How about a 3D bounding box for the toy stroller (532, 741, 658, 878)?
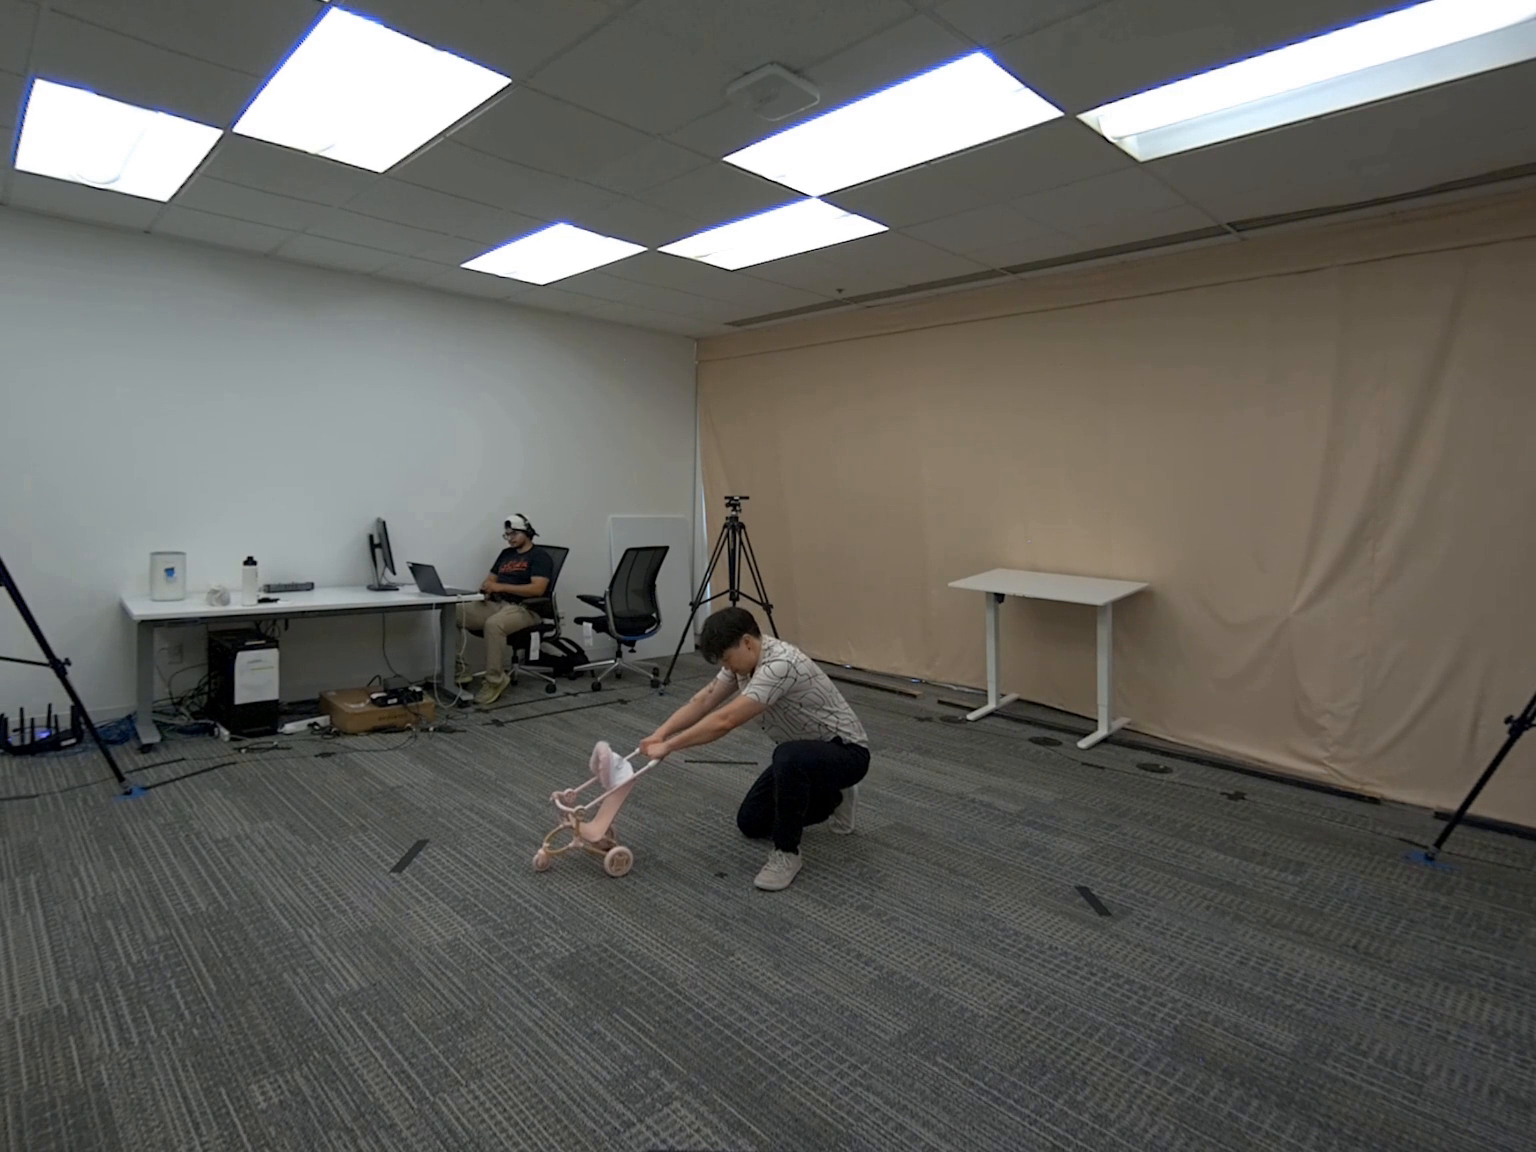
[{"bbox_3d":[-0.648,0.859,3.161,0.335,0.535,0.286,18,-2,-20],"label":"toy stroller"}]
